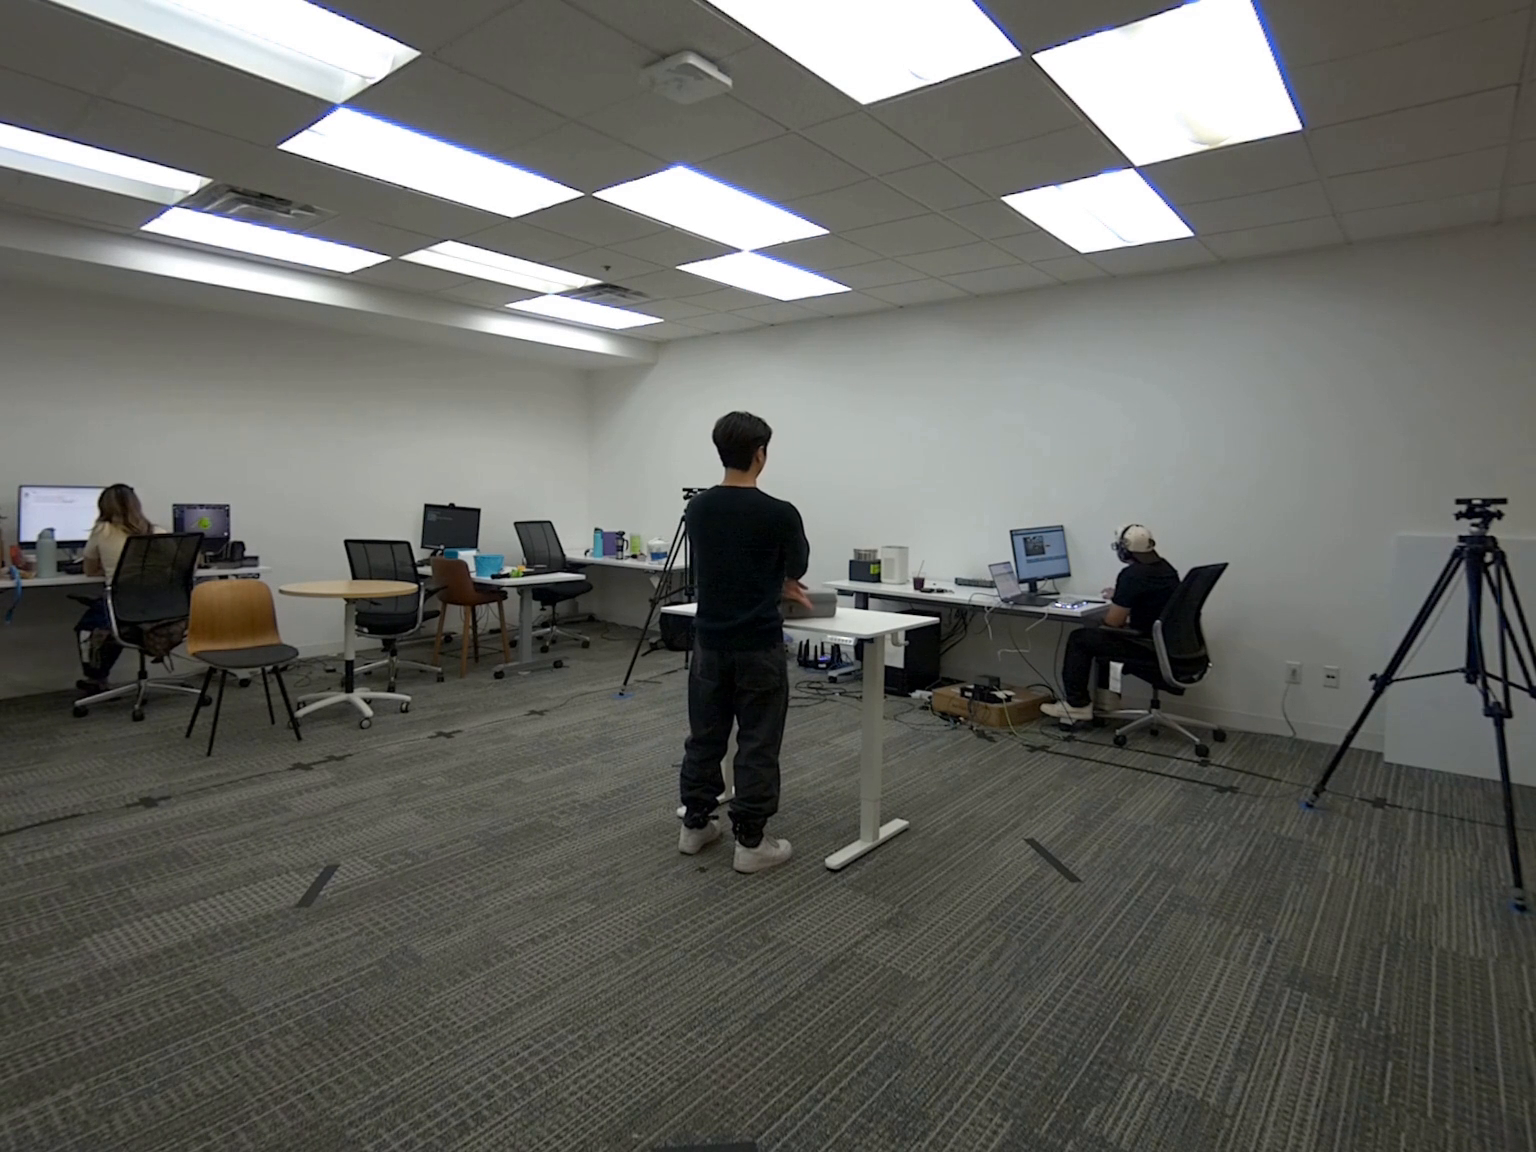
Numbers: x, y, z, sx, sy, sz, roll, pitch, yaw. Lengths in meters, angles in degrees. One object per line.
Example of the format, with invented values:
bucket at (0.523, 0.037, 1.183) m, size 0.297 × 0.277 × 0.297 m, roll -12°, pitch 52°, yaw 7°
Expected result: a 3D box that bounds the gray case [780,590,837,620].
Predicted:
gray case at (0.111, 0.100, 3.497) m, size 0.256 × 0.104 × 0.263 m, roll -2°, pitch 6°, yaw -18°
